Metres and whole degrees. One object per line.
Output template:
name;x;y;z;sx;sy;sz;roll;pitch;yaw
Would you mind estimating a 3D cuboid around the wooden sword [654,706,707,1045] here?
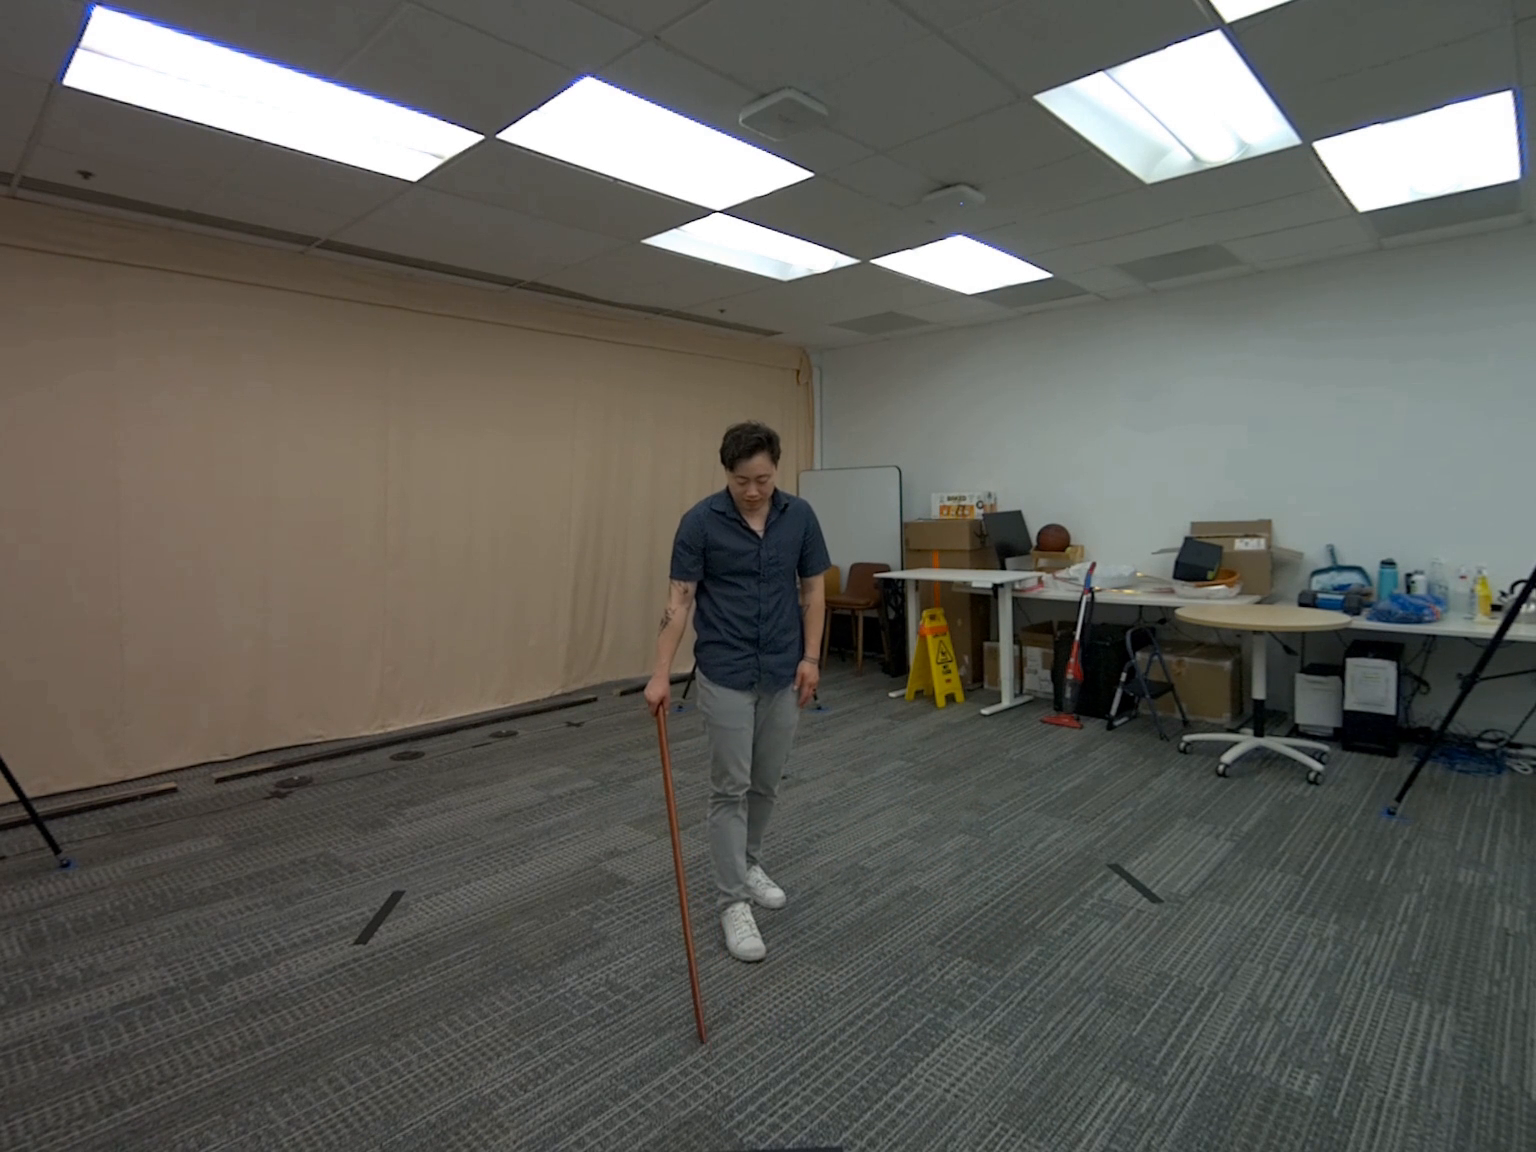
wooden sword;-0.263;0.790;2.485;0.023;1.049;0.051;9;-40;-32
